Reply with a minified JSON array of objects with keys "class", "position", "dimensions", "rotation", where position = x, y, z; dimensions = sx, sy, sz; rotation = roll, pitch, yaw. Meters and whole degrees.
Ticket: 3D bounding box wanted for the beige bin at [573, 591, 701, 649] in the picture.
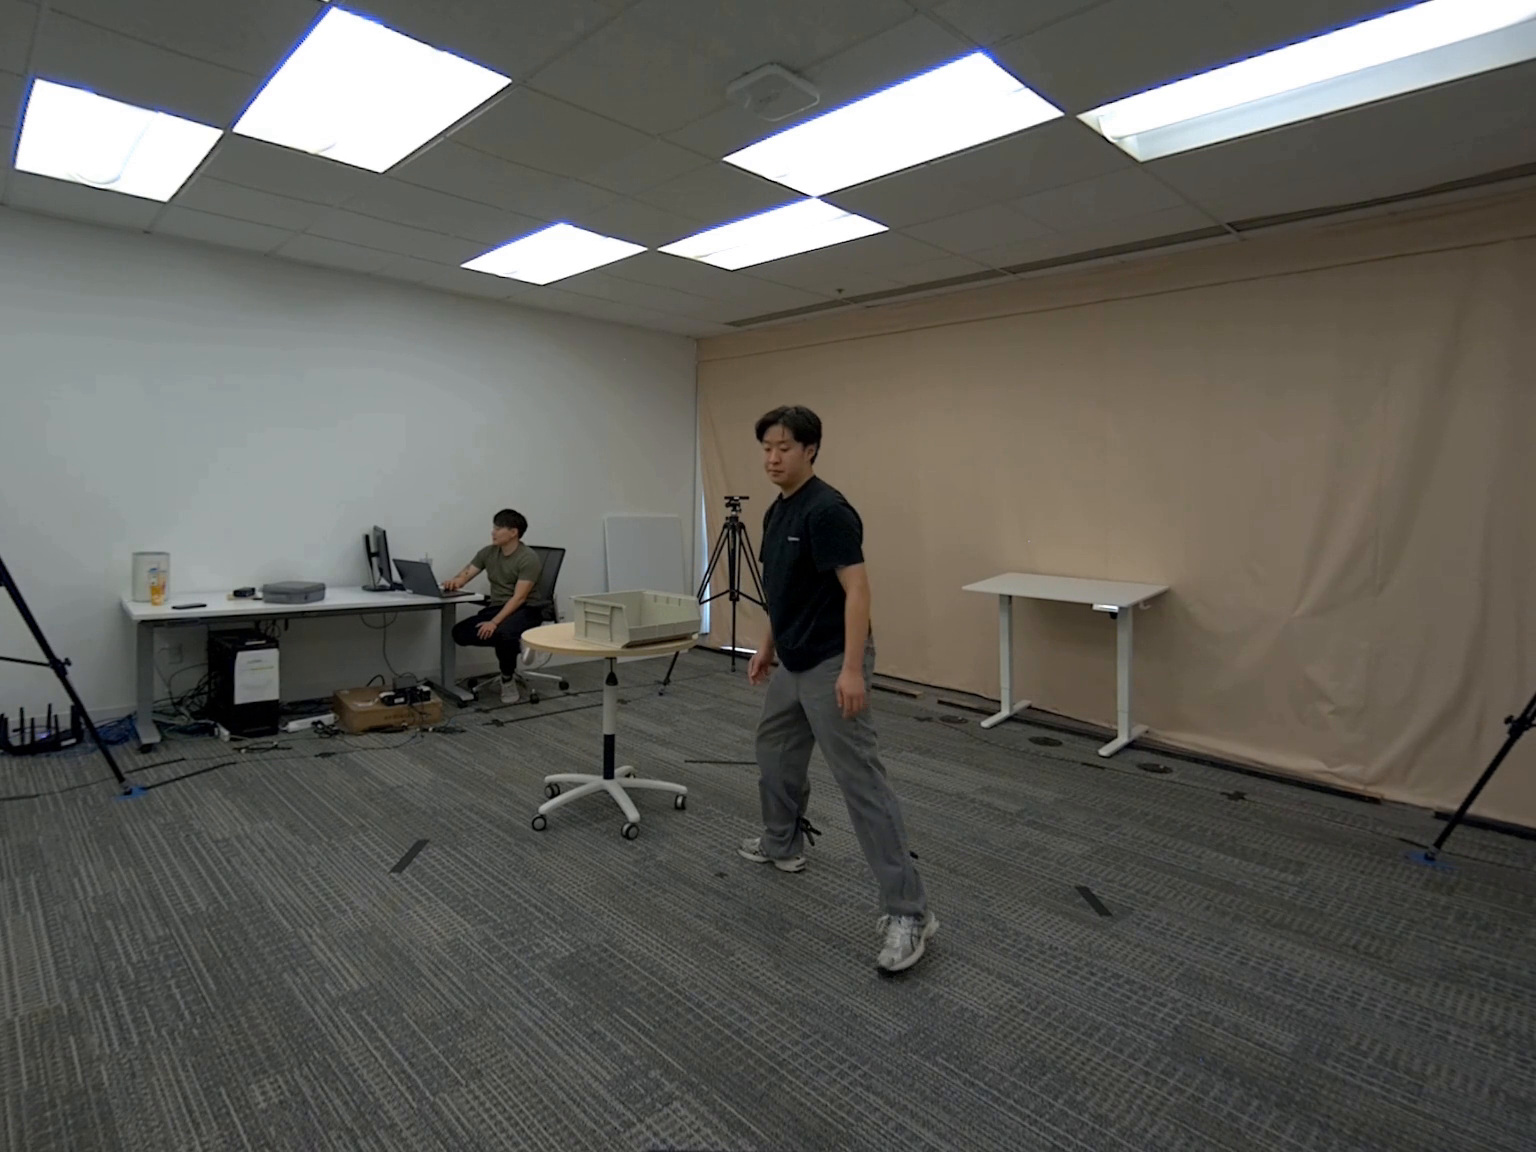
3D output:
[{"class":"beige bin","position":[-0.565,0.183,3.582],"dimensions":[0.387,0.188,0.413],"rotation":[5,7,41]}]
